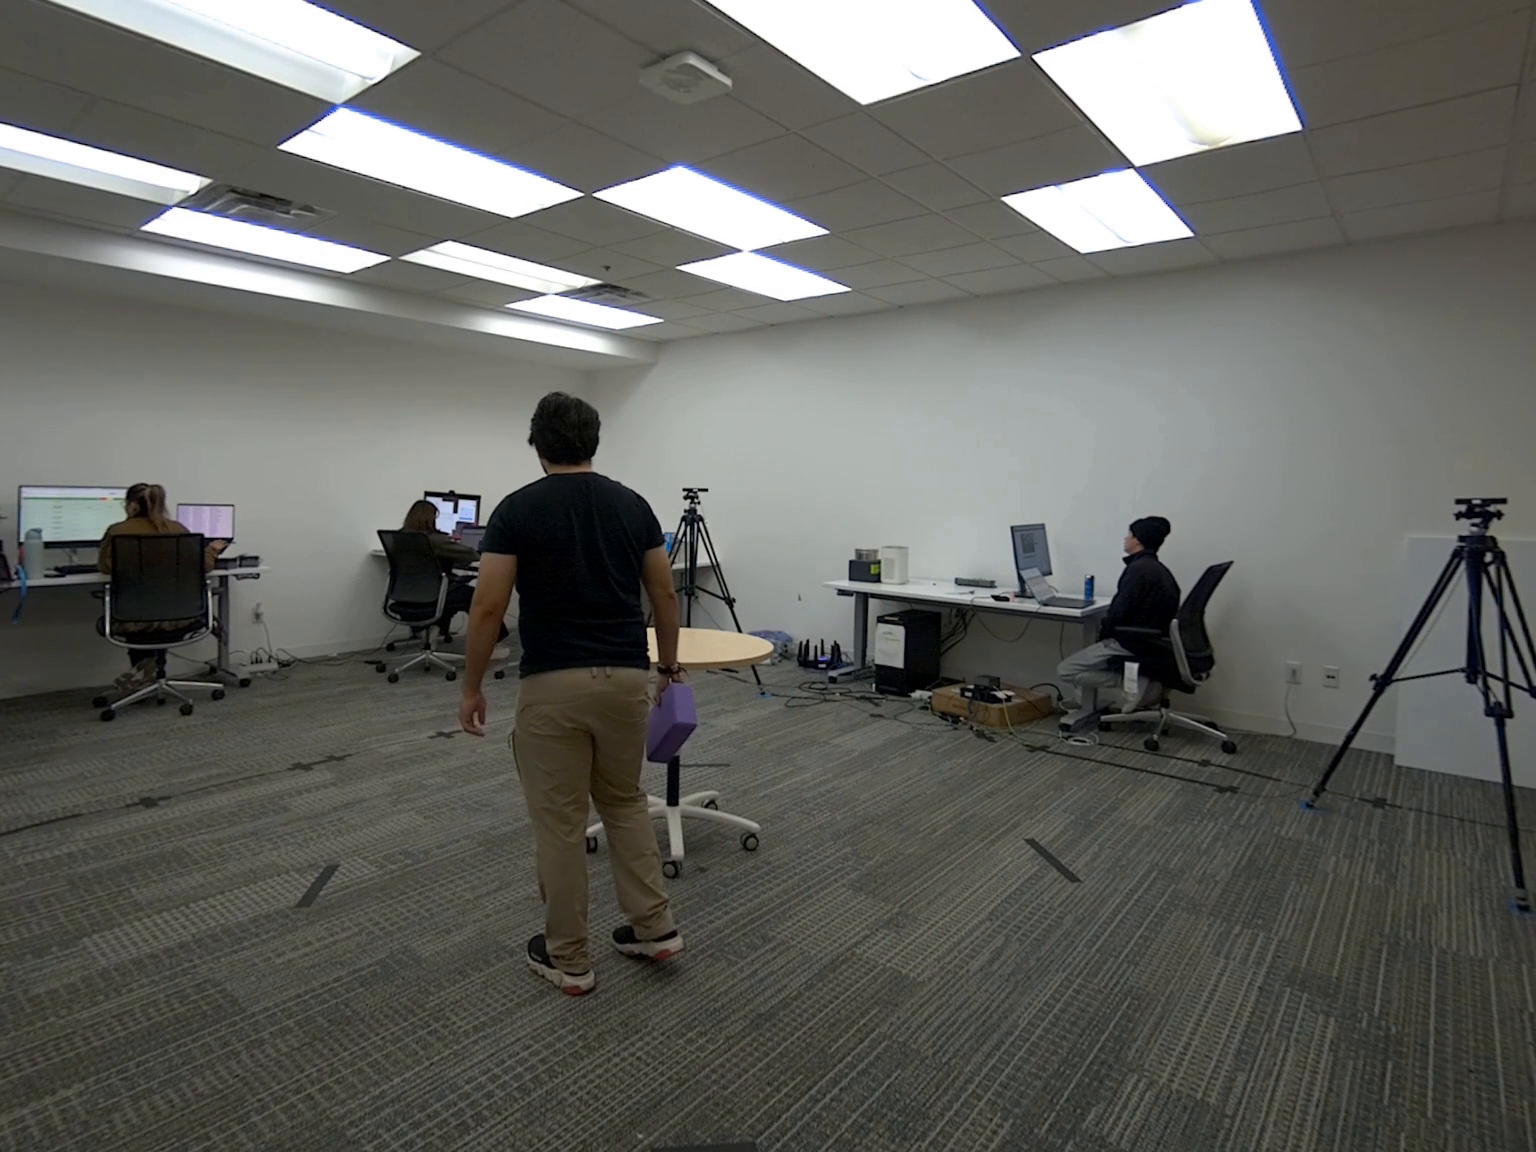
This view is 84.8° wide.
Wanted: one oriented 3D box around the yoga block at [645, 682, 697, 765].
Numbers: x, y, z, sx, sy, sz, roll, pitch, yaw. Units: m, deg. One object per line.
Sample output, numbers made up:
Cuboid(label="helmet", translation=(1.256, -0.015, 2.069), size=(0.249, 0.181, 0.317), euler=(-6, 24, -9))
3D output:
Cuboid(label="yoga block", translation=(-0.306, 0.445, 2.576), size=(0.074, 0.154, 0.227), euler=(9, -45, -23))
